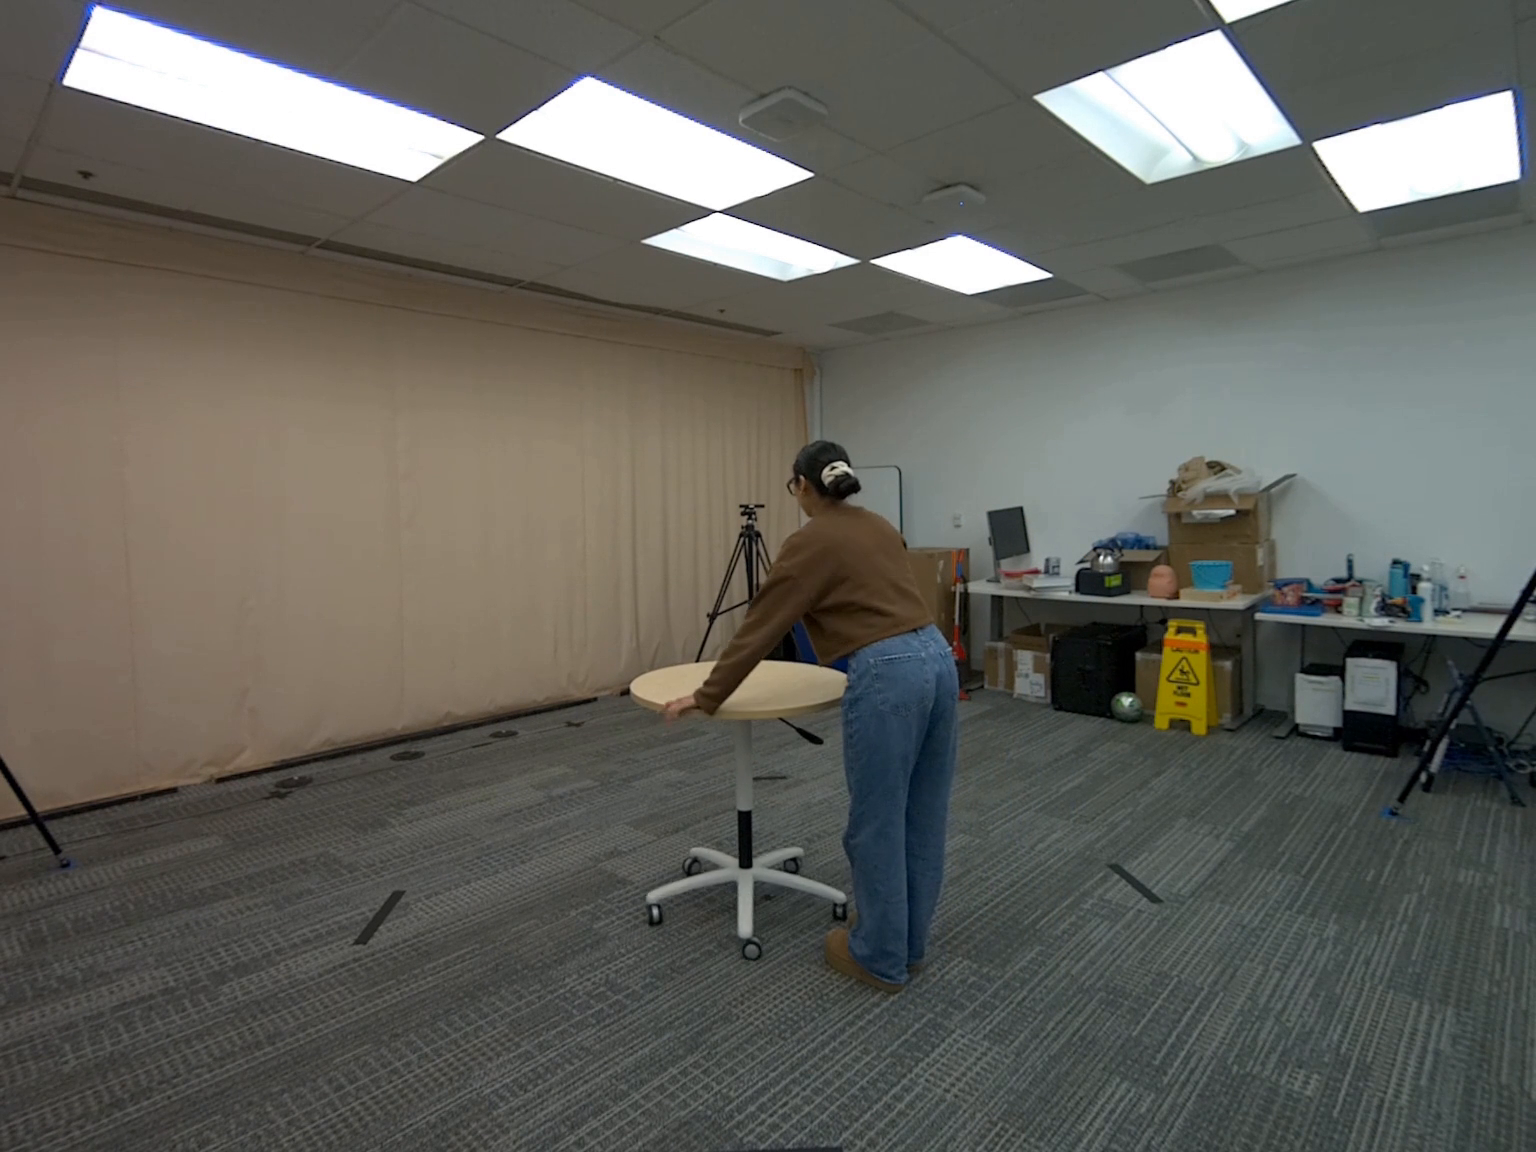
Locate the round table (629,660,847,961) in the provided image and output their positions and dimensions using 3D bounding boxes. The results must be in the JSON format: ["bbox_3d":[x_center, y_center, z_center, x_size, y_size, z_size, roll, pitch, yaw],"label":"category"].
[{"bbox_3d":[-0.084,0.759,2.902,0.763,0.792,0.767,-1,5,-2],"label":"round table"}]
